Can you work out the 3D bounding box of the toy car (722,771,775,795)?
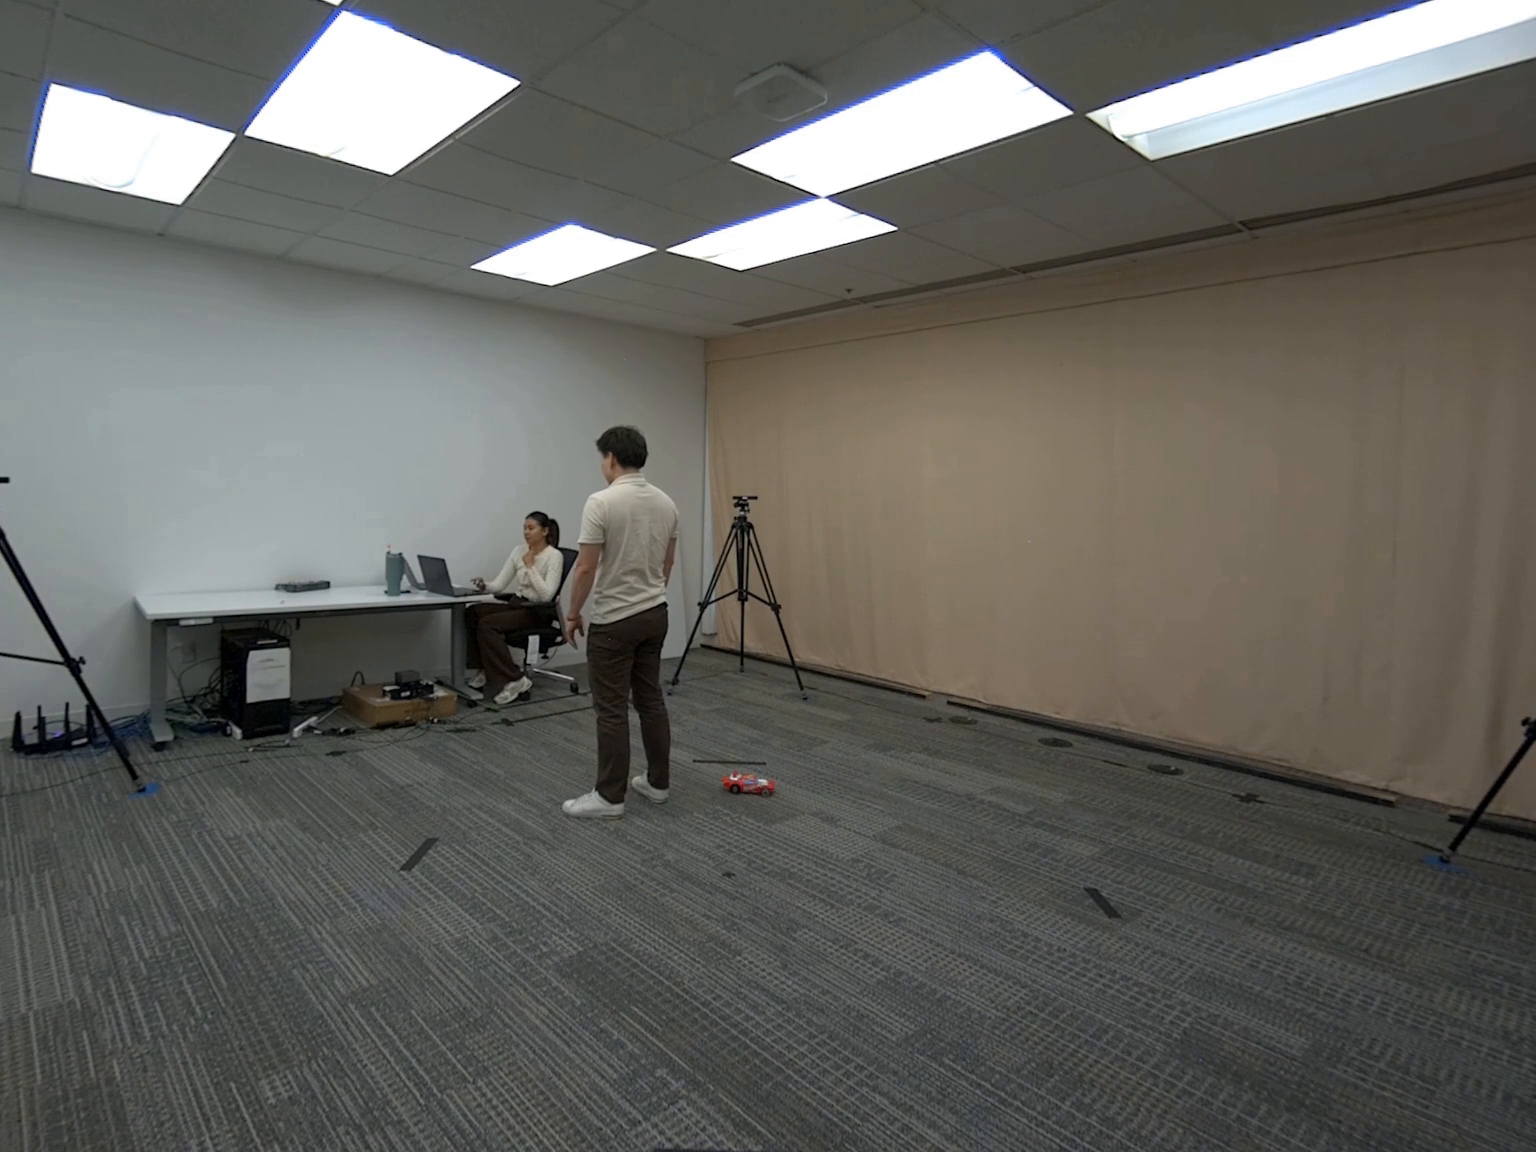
[{"bbox_3d":[-0.112,0.993,4.017,0.257,0.083,0.129,14,6,8],"label":"toy car"}]
